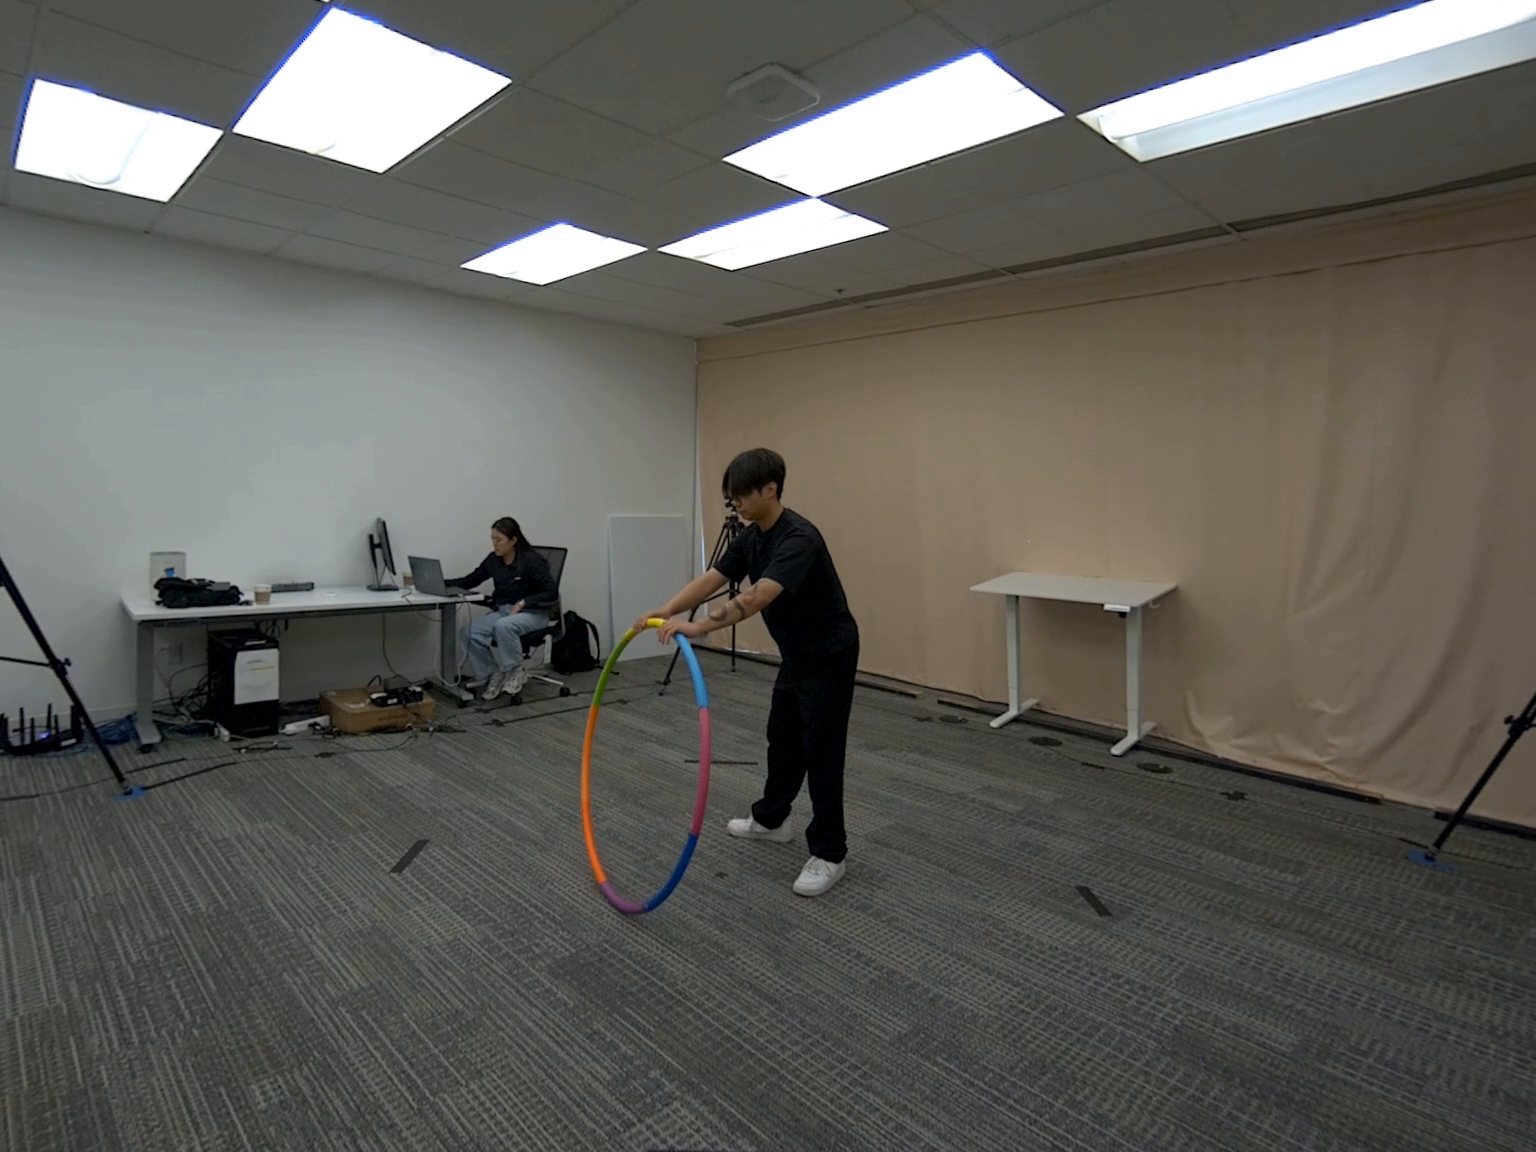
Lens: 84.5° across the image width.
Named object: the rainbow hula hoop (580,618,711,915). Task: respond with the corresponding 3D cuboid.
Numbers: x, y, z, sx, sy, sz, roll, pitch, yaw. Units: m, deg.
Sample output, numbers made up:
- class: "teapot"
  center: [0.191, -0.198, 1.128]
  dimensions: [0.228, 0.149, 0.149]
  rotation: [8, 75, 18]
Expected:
- class: "rainbow hula hoop"
  center: [-0.460, 0.639, 2.895]
  dimensions: [0.035, 0.979, 1.001]
  rotation: [12, -2, -31]
